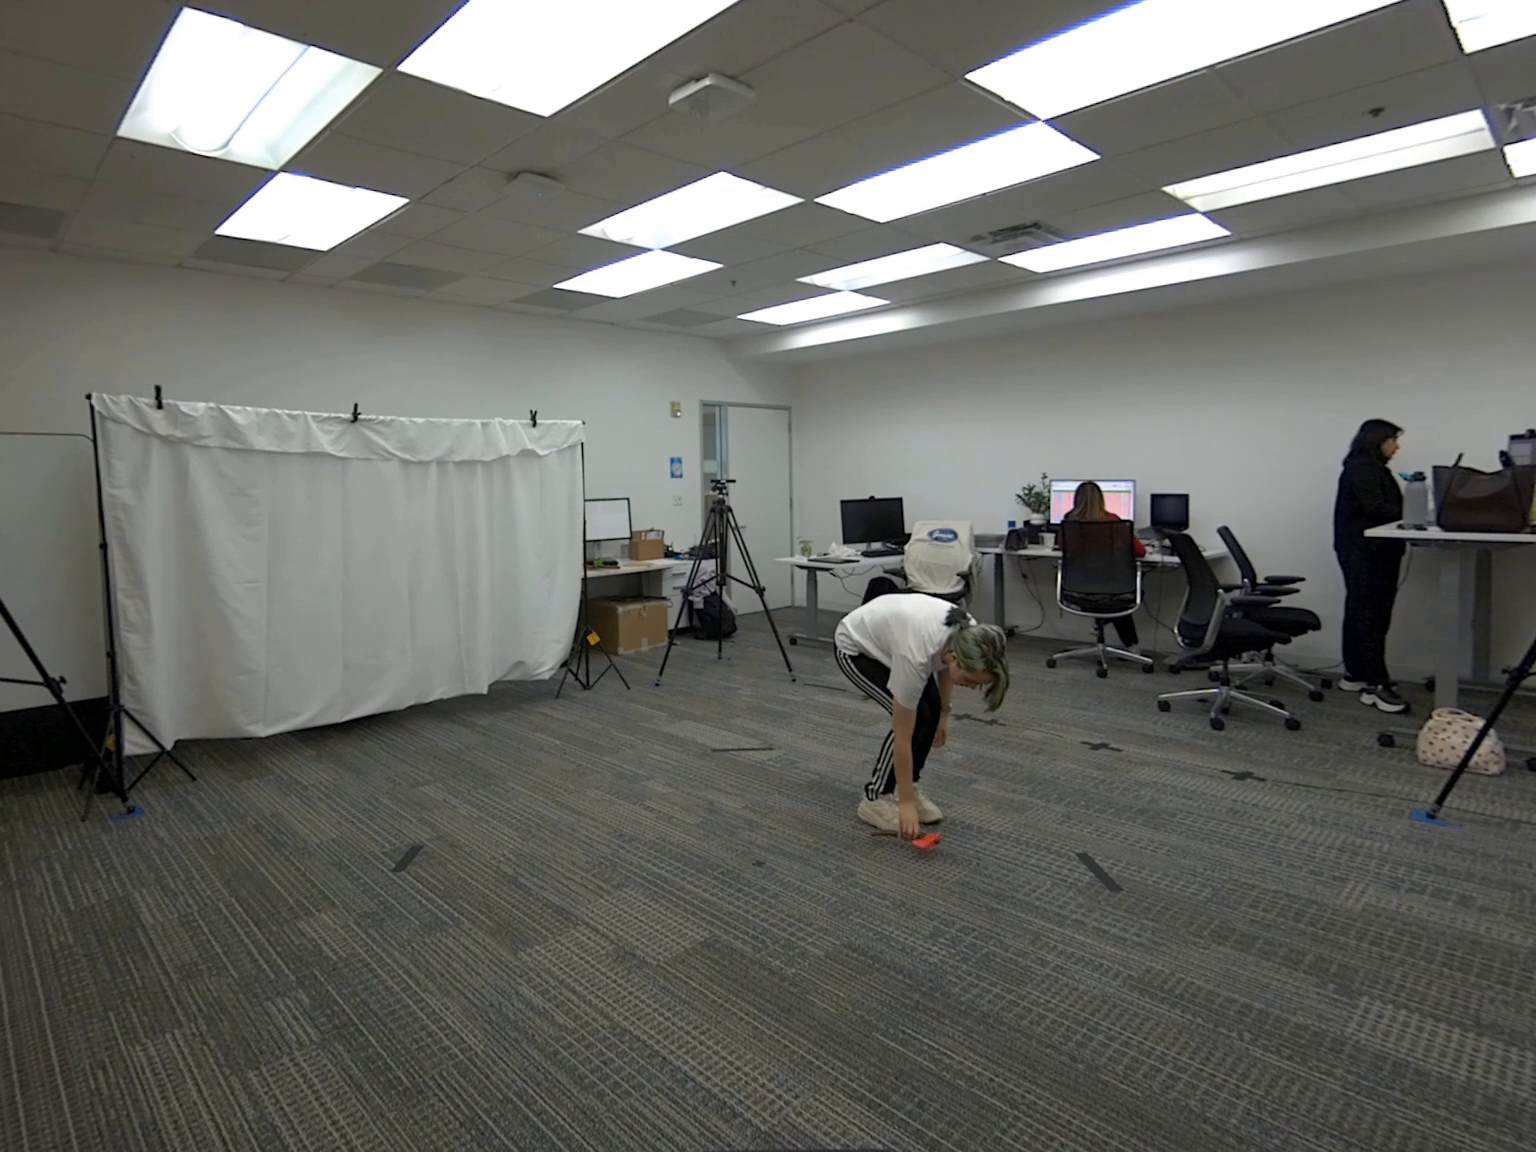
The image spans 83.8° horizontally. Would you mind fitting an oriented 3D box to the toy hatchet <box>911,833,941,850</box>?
[{"bbox_3d":[0.507,0.980,3.176,0.275,0.029,0.129,-7,6,23],"label":"toy hatchet"}]
